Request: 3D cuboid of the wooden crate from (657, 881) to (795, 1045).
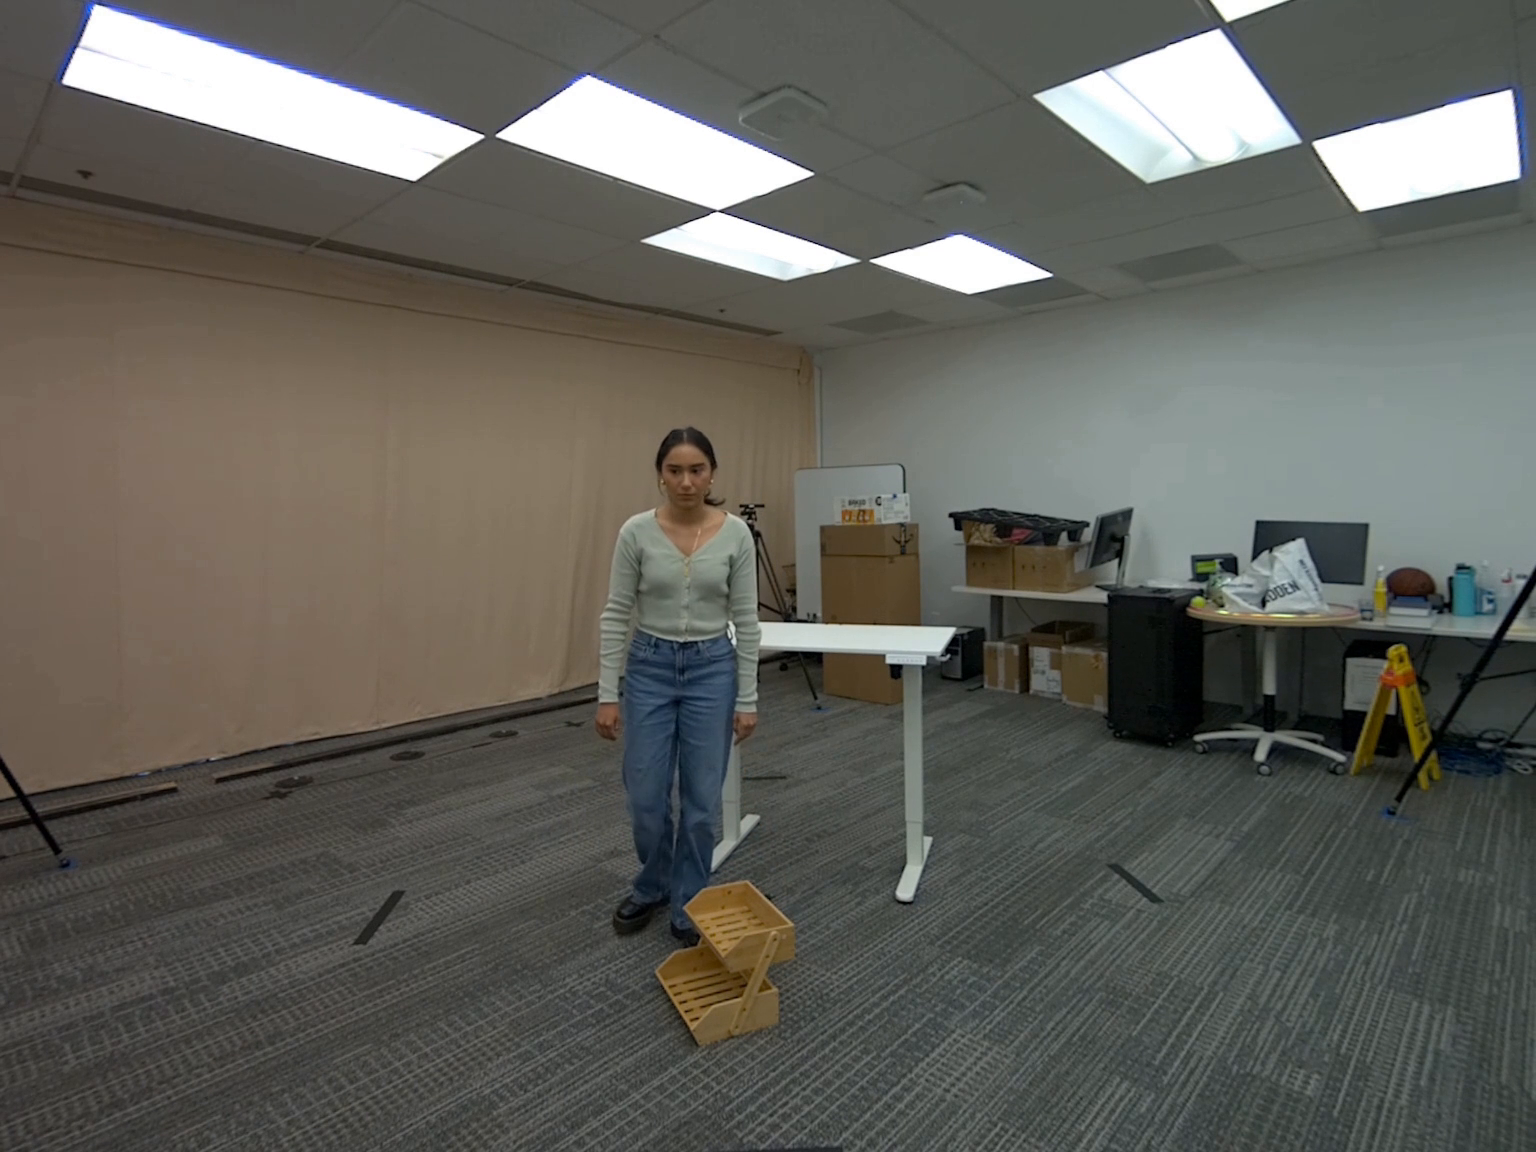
[{"bbox_3d":[-0.127,1.065,2.343,0.295,0.273,0.333,-3,4,-25],"label":"wooden crate"}]
